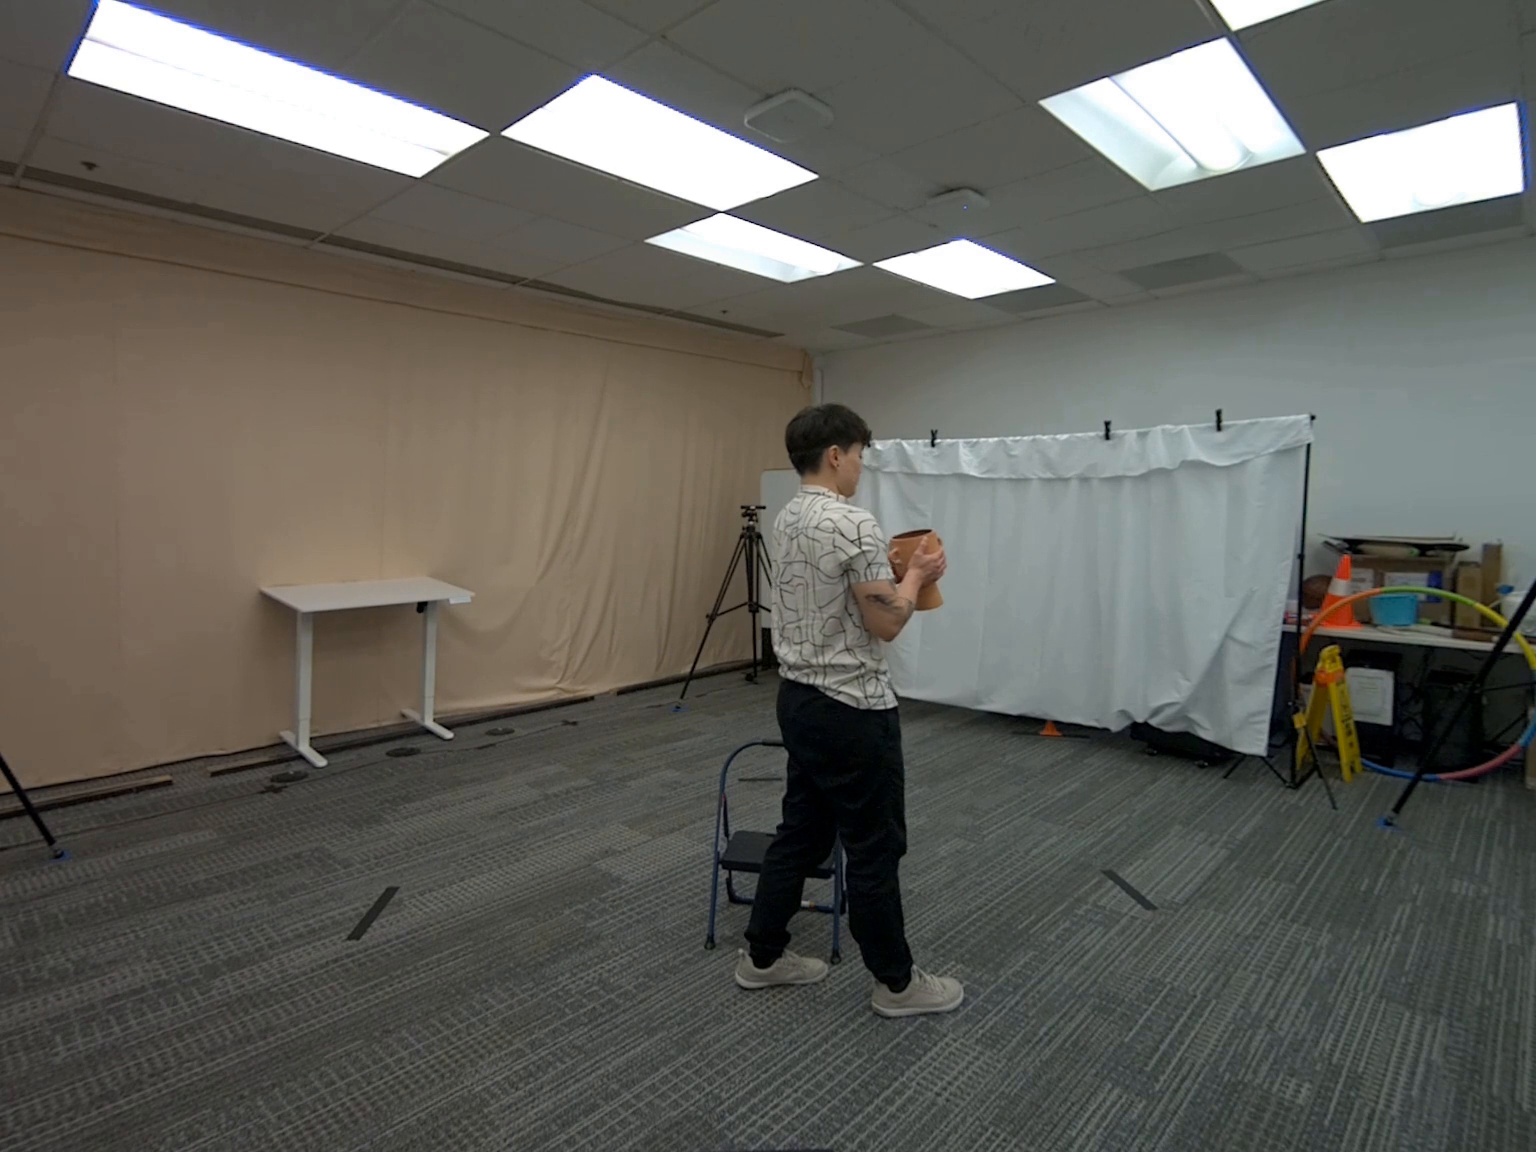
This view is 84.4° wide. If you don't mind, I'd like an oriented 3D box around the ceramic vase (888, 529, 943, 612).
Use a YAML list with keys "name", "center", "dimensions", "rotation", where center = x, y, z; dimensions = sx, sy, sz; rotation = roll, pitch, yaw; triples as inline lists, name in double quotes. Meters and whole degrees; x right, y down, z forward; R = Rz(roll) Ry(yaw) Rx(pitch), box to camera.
- name: "ceramic vase"
  center: [0.436, -0.017, 2.464]
  dimensions: [0.161, 0.218, 0.134]
  rotation: [-9, 8, 12]
